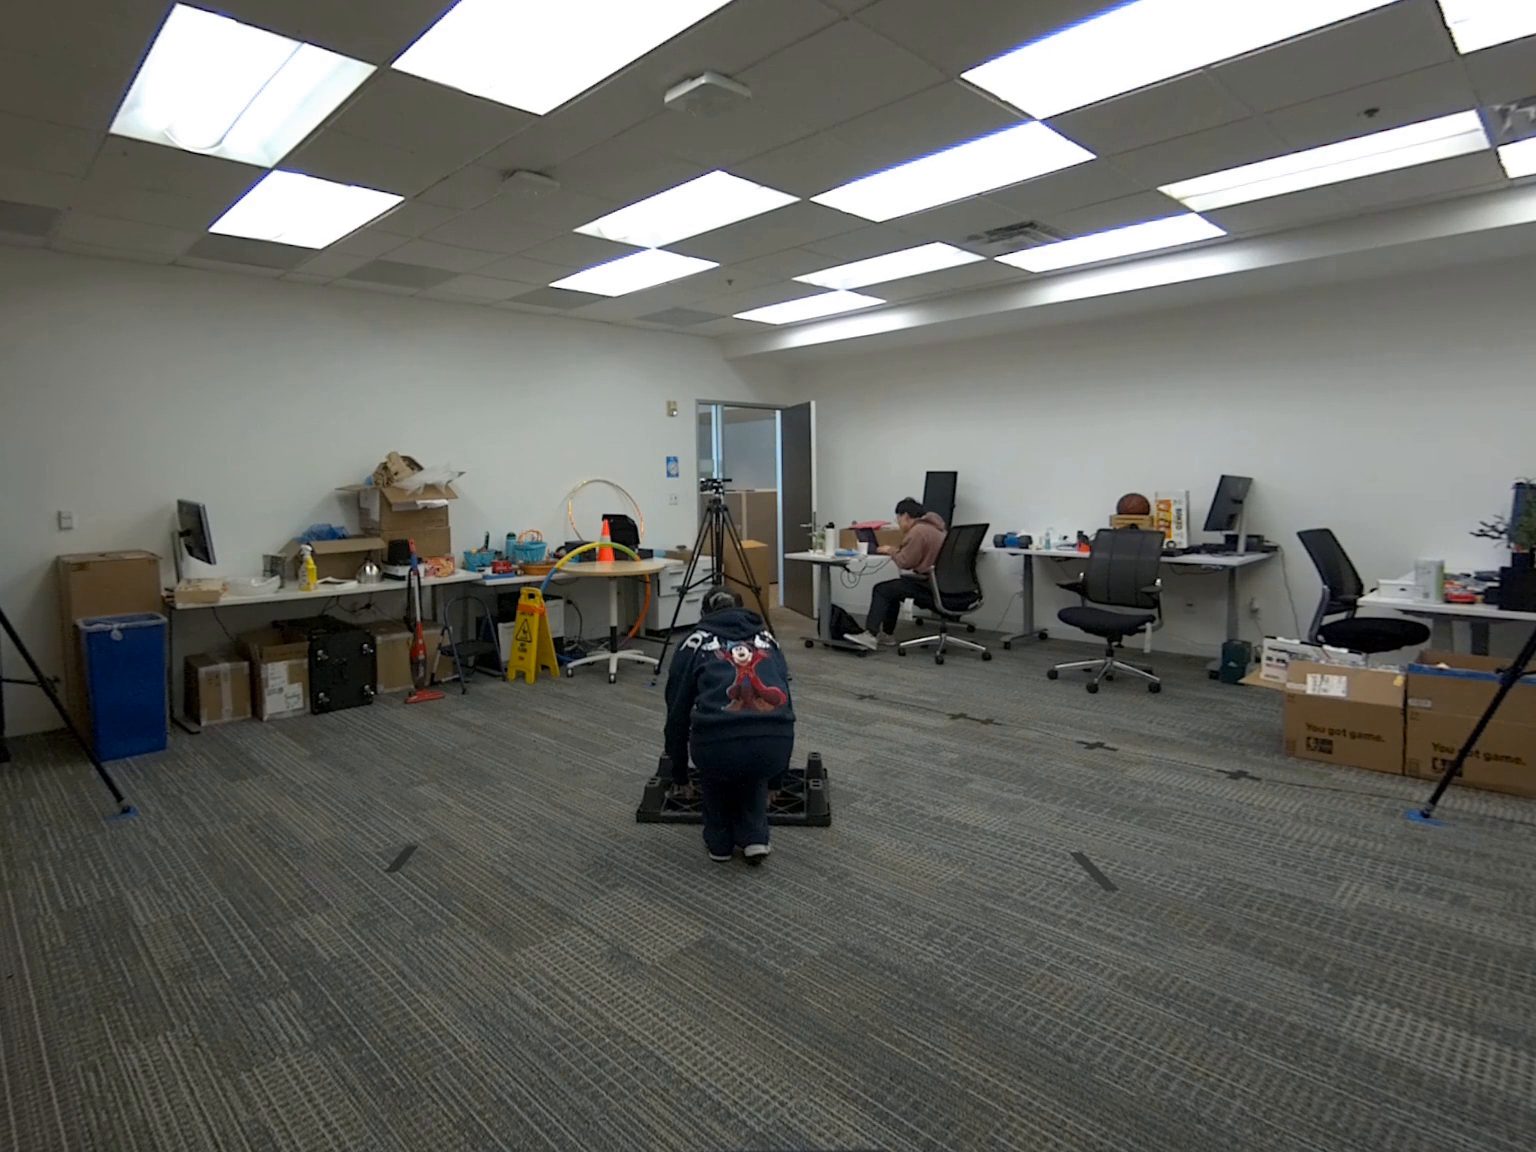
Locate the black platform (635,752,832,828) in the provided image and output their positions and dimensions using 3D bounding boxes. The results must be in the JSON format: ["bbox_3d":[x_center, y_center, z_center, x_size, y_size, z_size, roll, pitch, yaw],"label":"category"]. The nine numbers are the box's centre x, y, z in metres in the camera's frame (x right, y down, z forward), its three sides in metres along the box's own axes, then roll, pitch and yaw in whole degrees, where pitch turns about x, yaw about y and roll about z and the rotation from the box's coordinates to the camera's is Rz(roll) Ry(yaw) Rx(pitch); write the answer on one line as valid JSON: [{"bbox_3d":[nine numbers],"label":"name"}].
[{"bbox_3d":[-0.125,0.905,3.750,0.809,0.142,0.605,-1,7,4],"label":"black platform"}]
